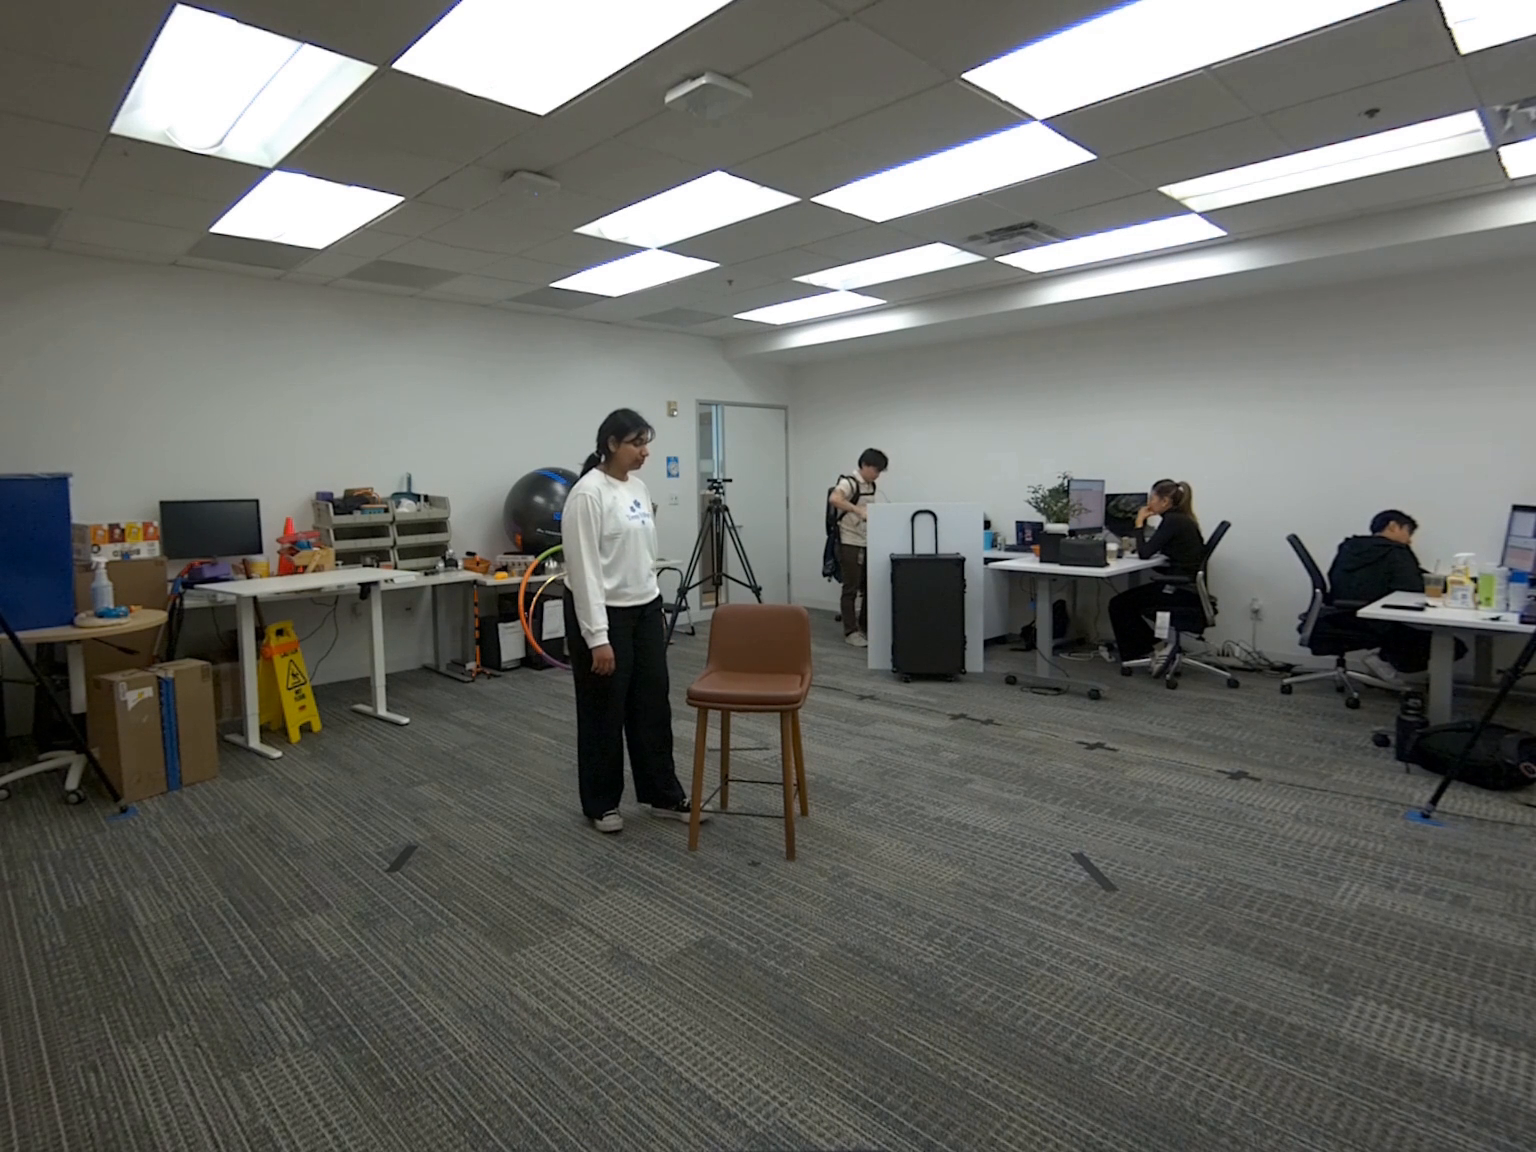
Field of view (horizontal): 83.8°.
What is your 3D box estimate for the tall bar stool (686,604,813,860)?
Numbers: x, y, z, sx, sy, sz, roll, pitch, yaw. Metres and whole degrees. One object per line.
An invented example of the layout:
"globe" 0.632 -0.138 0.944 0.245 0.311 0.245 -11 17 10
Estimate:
"tall bar stool" -0.064 0.583 3.365 0.463 0.888 0.462 0 2 14
